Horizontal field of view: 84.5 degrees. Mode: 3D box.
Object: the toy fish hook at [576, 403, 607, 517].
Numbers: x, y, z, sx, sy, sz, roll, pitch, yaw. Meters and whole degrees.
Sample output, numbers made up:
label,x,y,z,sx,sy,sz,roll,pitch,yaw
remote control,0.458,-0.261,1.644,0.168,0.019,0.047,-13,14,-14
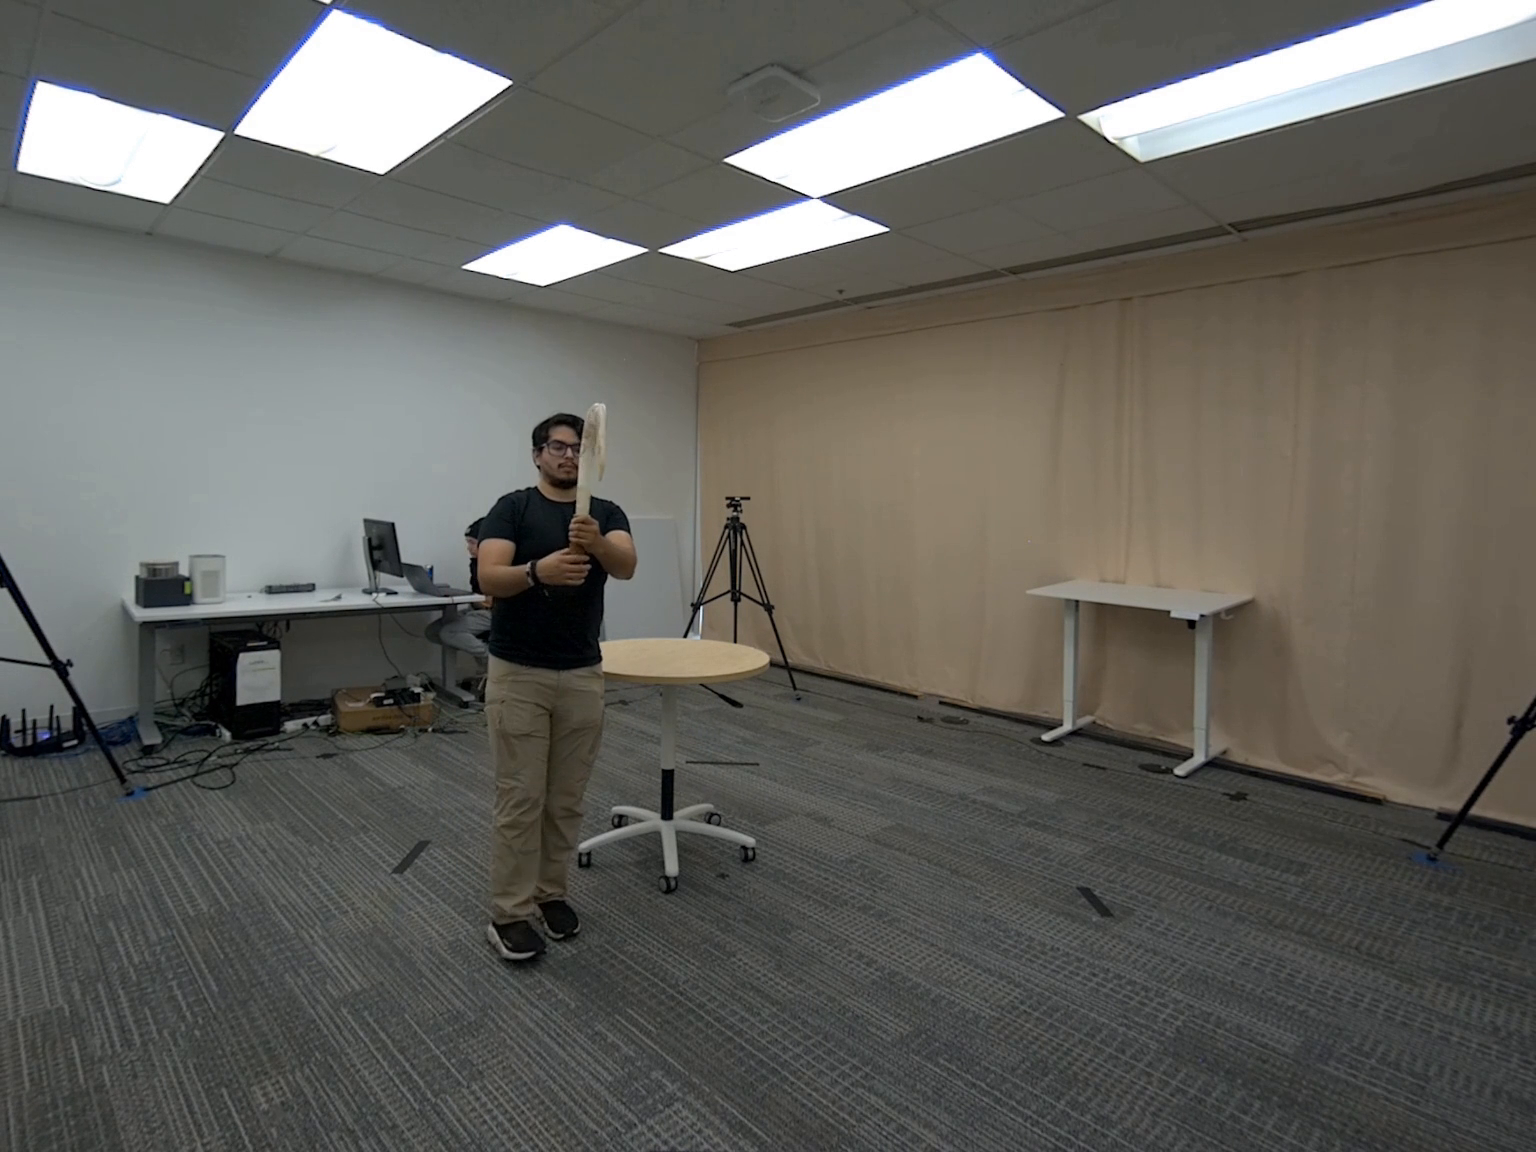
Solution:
label,x,y,z,sx,sy,sz,roll,pitch,yaw
toy fish hook,-0.503,-0.210,2.256,0.047,0.504,0.229,7,9,-20
